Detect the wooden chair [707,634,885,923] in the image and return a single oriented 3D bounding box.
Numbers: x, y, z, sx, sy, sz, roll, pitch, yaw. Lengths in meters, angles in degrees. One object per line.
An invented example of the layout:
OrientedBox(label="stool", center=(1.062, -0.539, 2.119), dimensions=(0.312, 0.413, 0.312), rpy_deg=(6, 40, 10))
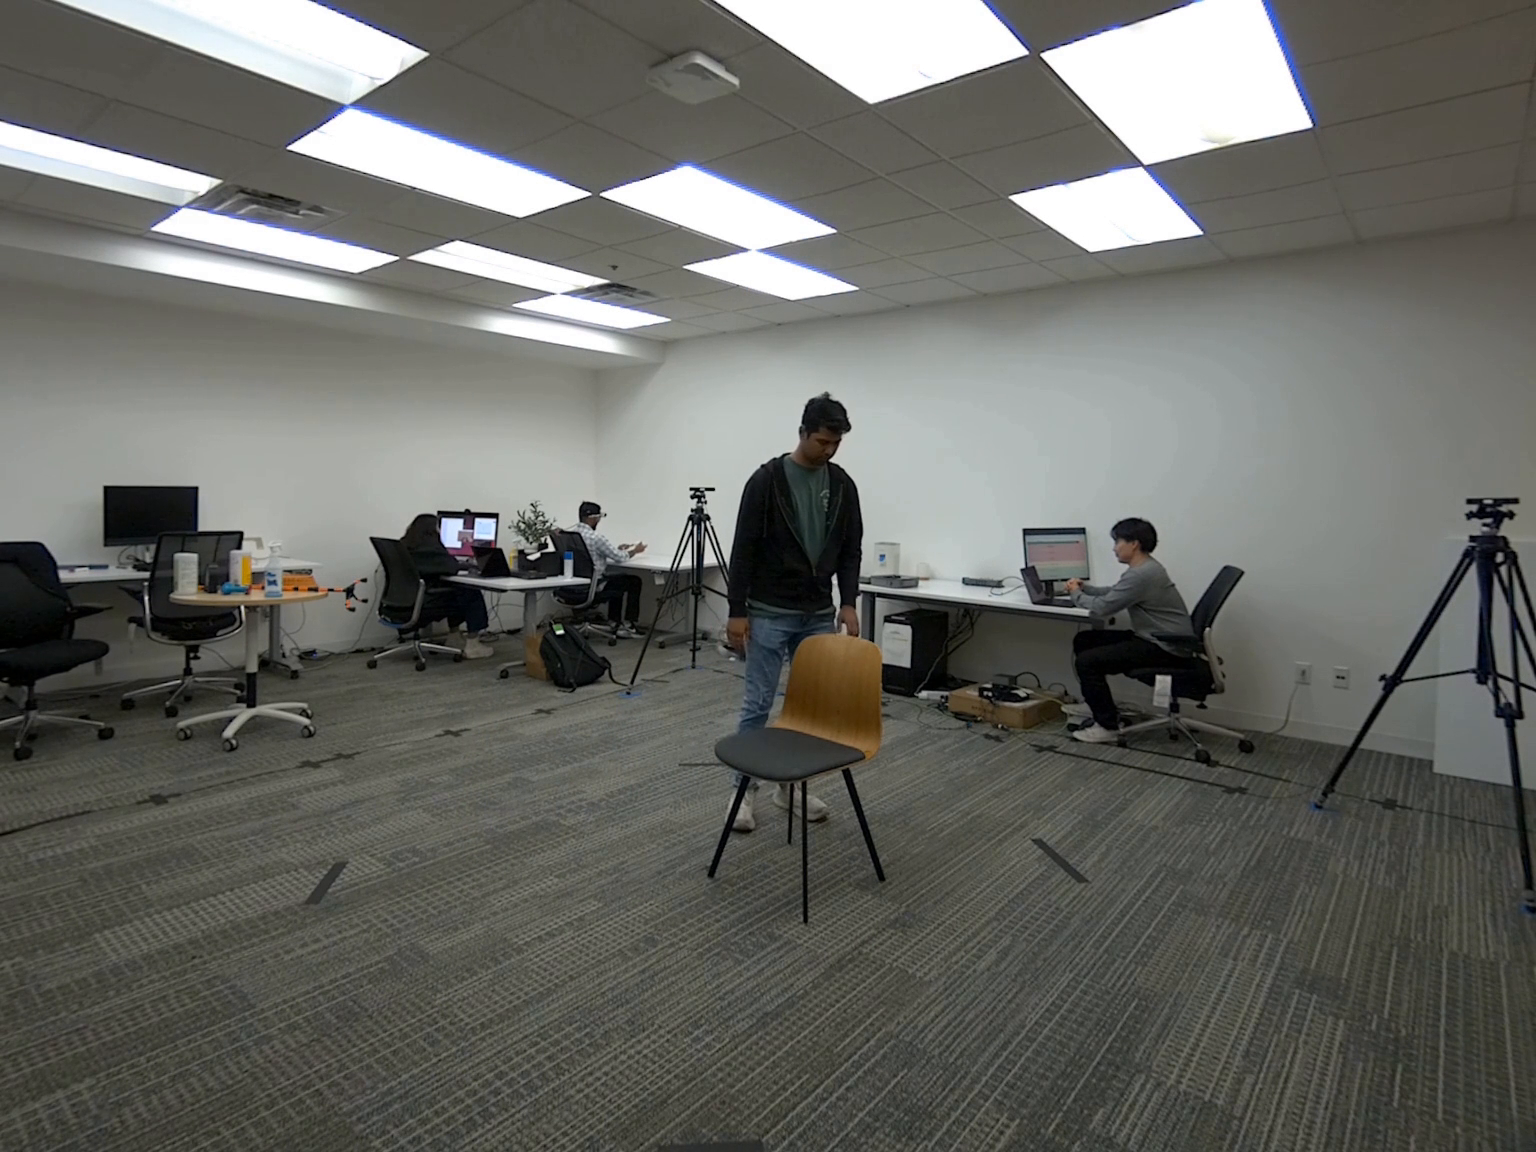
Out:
OrientedBox(label="wooden chair", center=(0.102, 0.656, 3.011), dimensions=(0.494, 0.877, 0.505), rpy_deg=(5, 0, 43))
